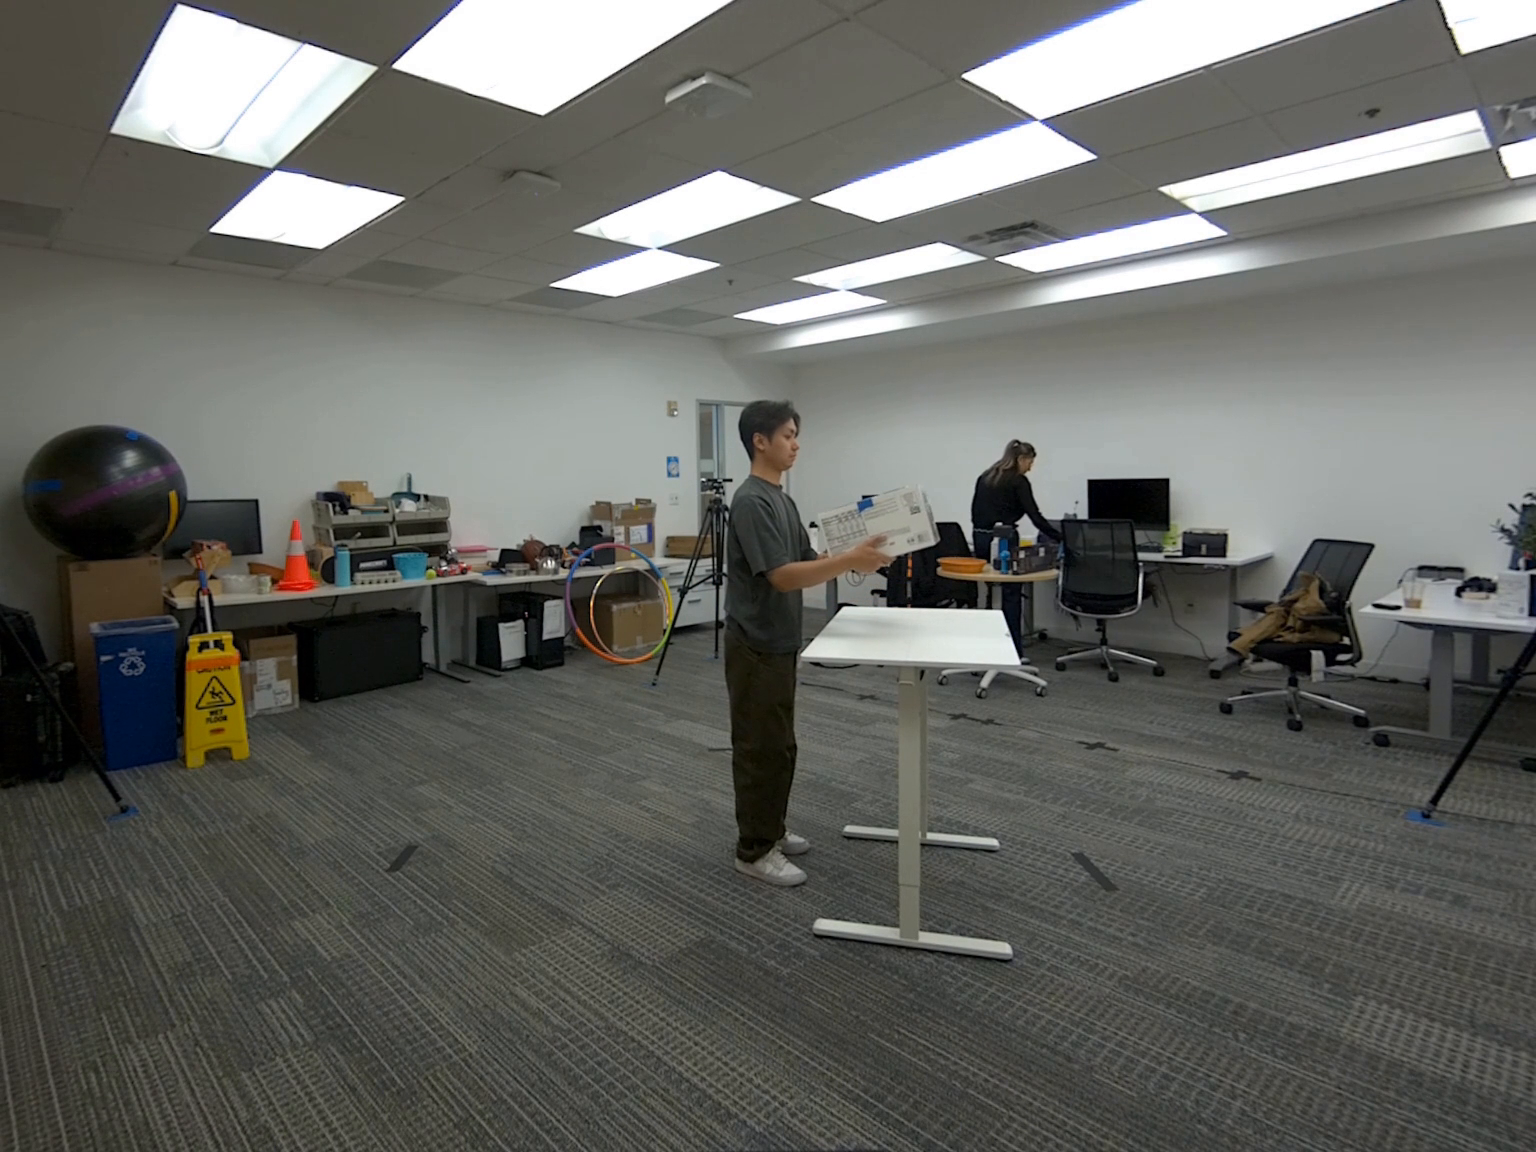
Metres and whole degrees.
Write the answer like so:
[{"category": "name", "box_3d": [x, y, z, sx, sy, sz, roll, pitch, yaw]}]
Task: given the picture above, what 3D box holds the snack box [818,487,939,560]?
[{"category": "snack box", "box_3d": [0.382, -0.163, 2.928, 0.344, 0.206, 0.400, -16, 0, 14]}]
